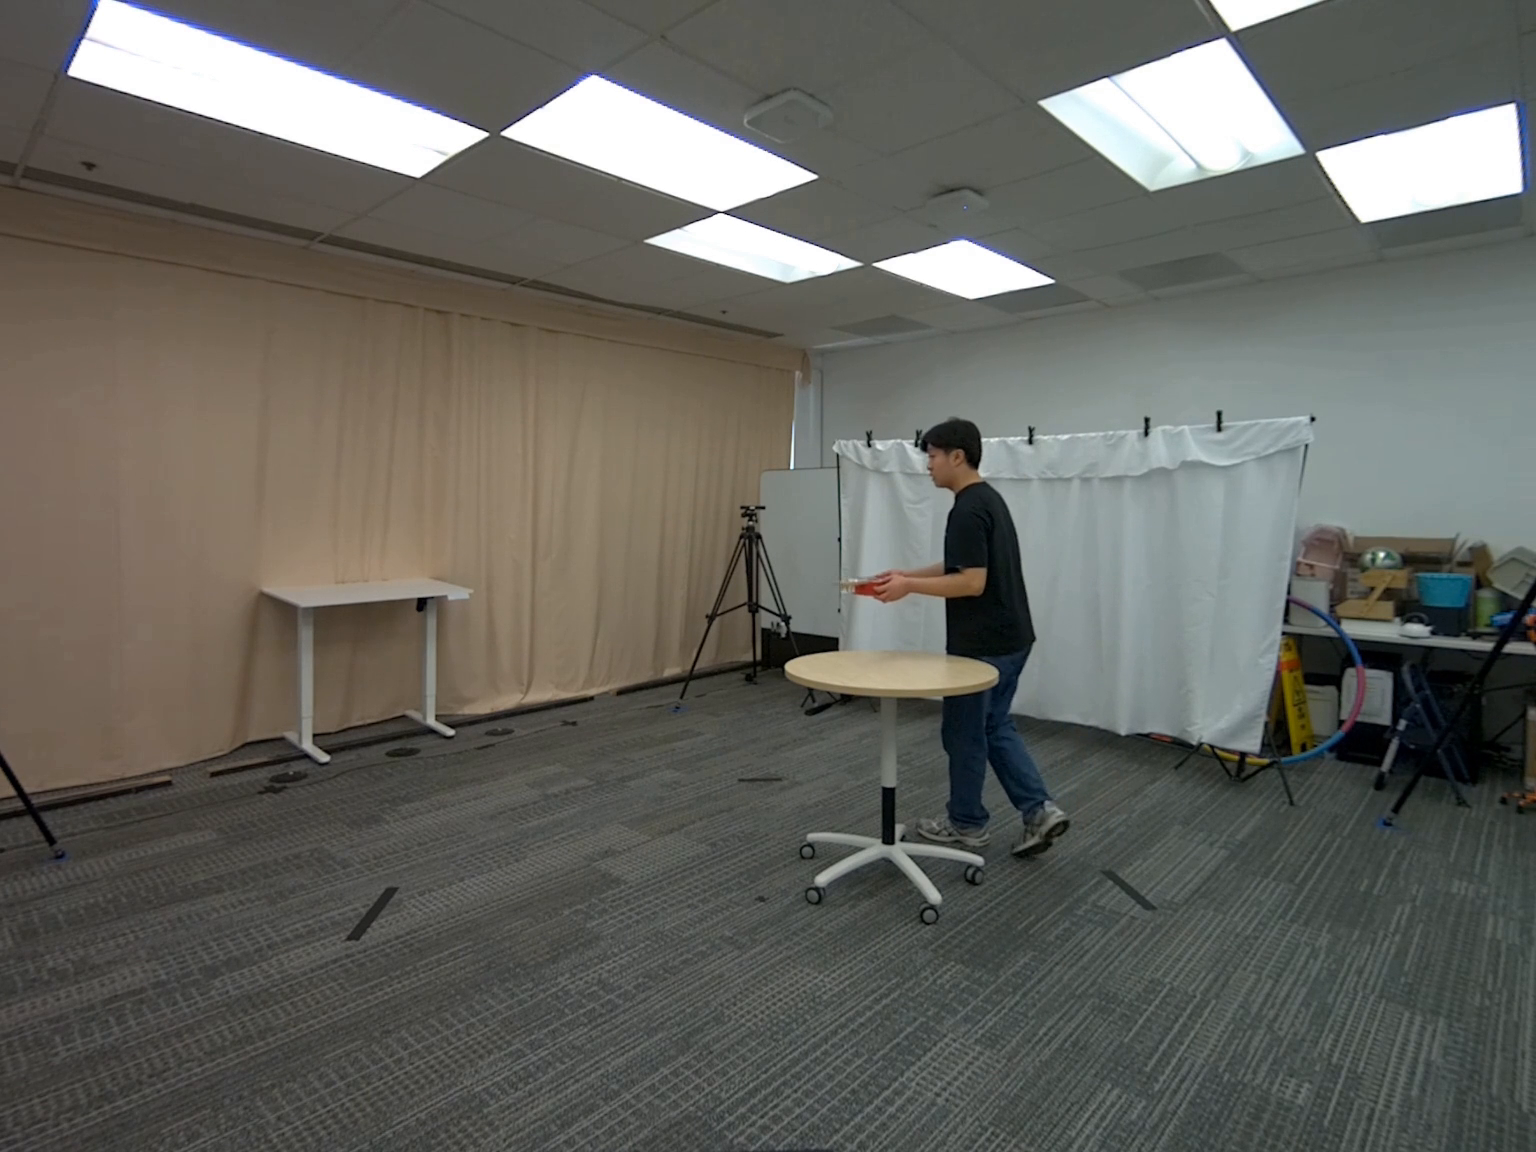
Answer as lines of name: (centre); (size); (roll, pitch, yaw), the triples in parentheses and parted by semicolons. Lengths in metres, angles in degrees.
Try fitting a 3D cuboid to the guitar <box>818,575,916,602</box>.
guitar: (0.414, 0.043, 3.396); (0.199, 0.070, 0.483); (3, 4, 36)
